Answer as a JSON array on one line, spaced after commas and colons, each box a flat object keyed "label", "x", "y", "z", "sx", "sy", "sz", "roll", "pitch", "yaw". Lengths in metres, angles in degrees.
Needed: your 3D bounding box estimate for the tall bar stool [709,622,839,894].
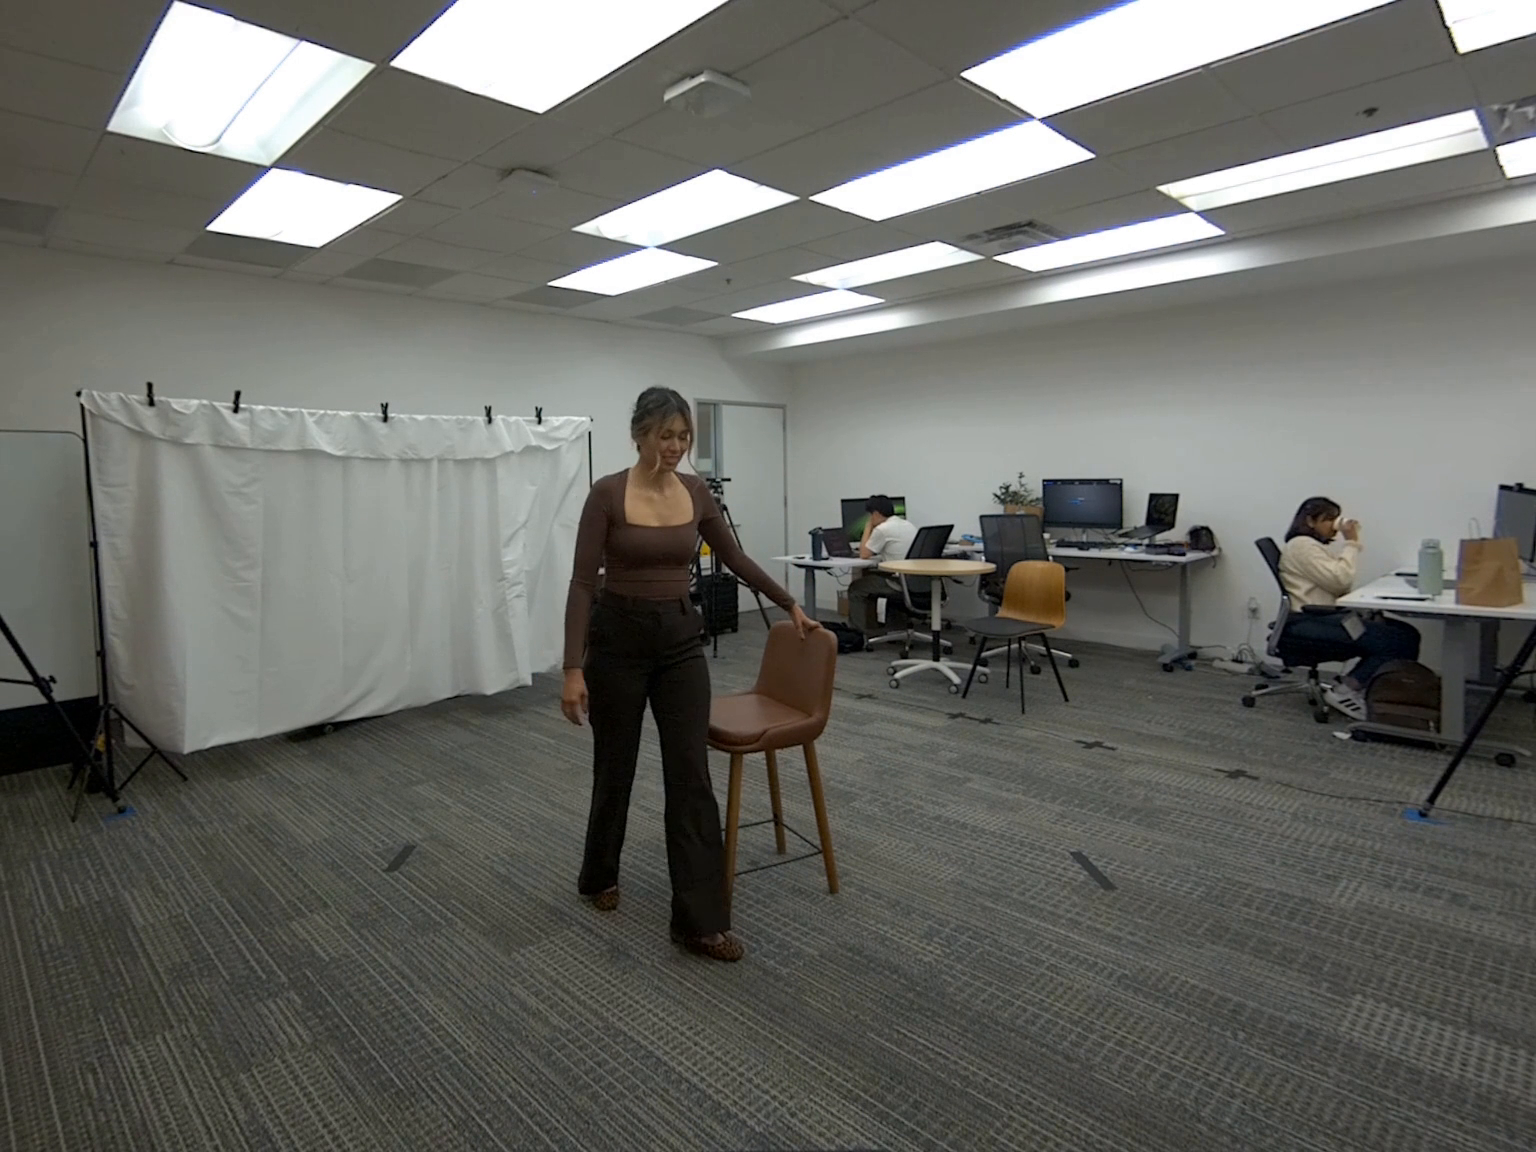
[{"label": "tall bar stool", "x": -0.042, "y": 0.628, "z": 2.918, "sx": 0.457, "sy": 0.887, "sz": 0.468, "roll": -1, "pitch": 4, "yaw": -28}]
